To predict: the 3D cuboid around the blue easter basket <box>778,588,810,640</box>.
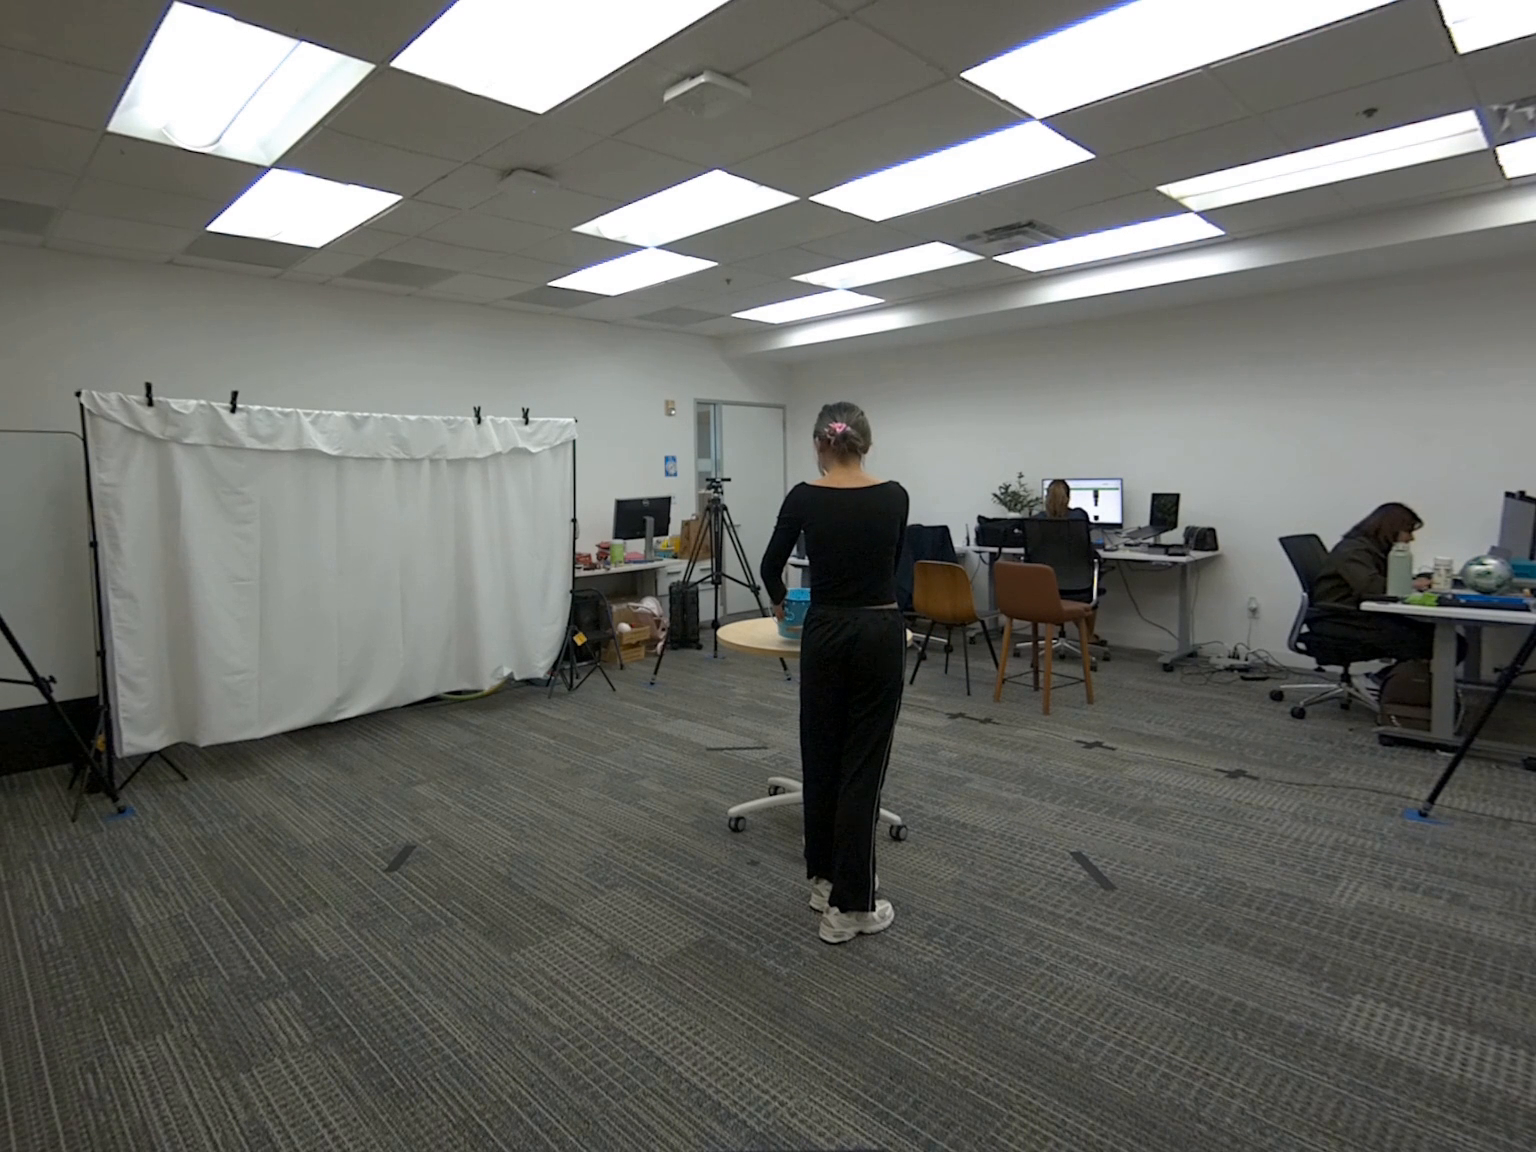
[{"bbox_3d":[0.135,0.149,3.174,0.243,0.155,0.245,1,7,-2],"label":"blue easter basket"}]
